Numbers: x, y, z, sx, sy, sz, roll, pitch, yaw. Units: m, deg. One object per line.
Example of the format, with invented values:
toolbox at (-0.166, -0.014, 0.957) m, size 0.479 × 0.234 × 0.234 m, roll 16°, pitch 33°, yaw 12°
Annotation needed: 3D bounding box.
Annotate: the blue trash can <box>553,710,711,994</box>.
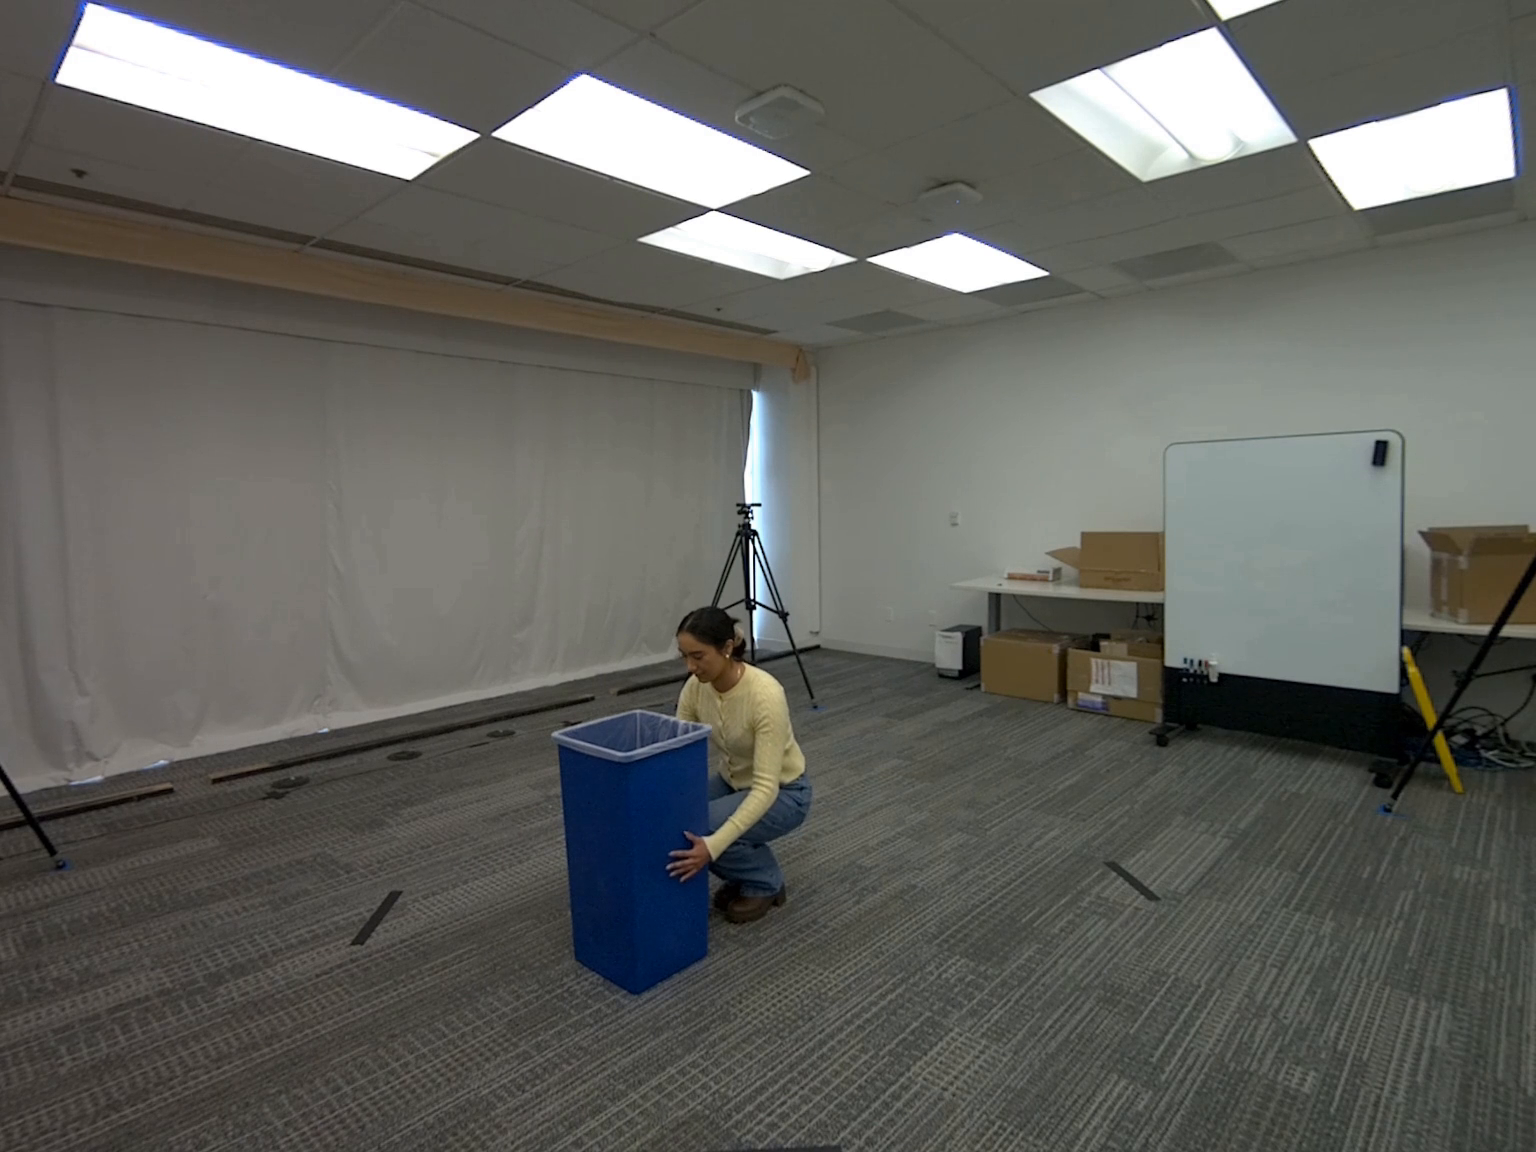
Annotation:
blue trash can at (-0.401, 0.823, 2.573) m, size 0.390 × 0.712 × 0.363 m, roll 1°, pitch 4°, yaw 42°
